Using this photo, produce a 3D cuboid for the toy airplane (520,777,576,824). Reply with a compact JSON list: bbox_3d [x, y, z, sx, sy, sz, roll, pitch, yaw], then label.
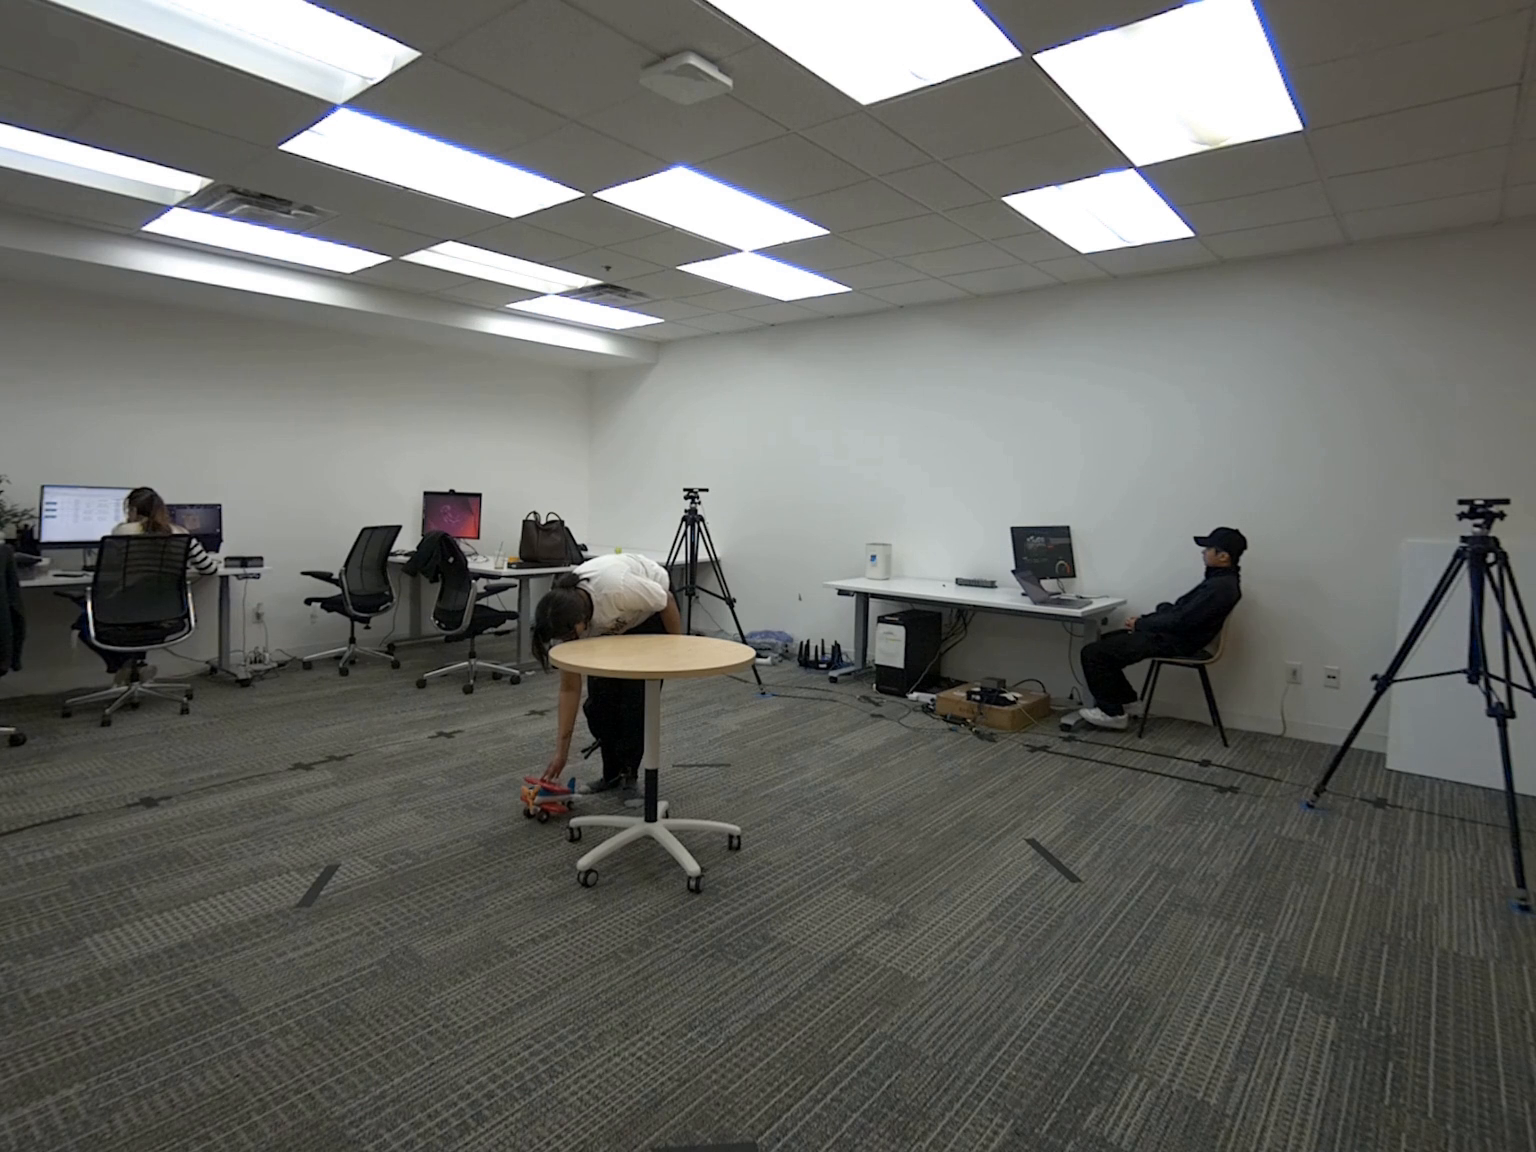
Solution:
[{"bbox_3d":[-0.952,0.936,3.619,0.254,0.156,0.257,1,6,9],"label":"toy airplane"}]
